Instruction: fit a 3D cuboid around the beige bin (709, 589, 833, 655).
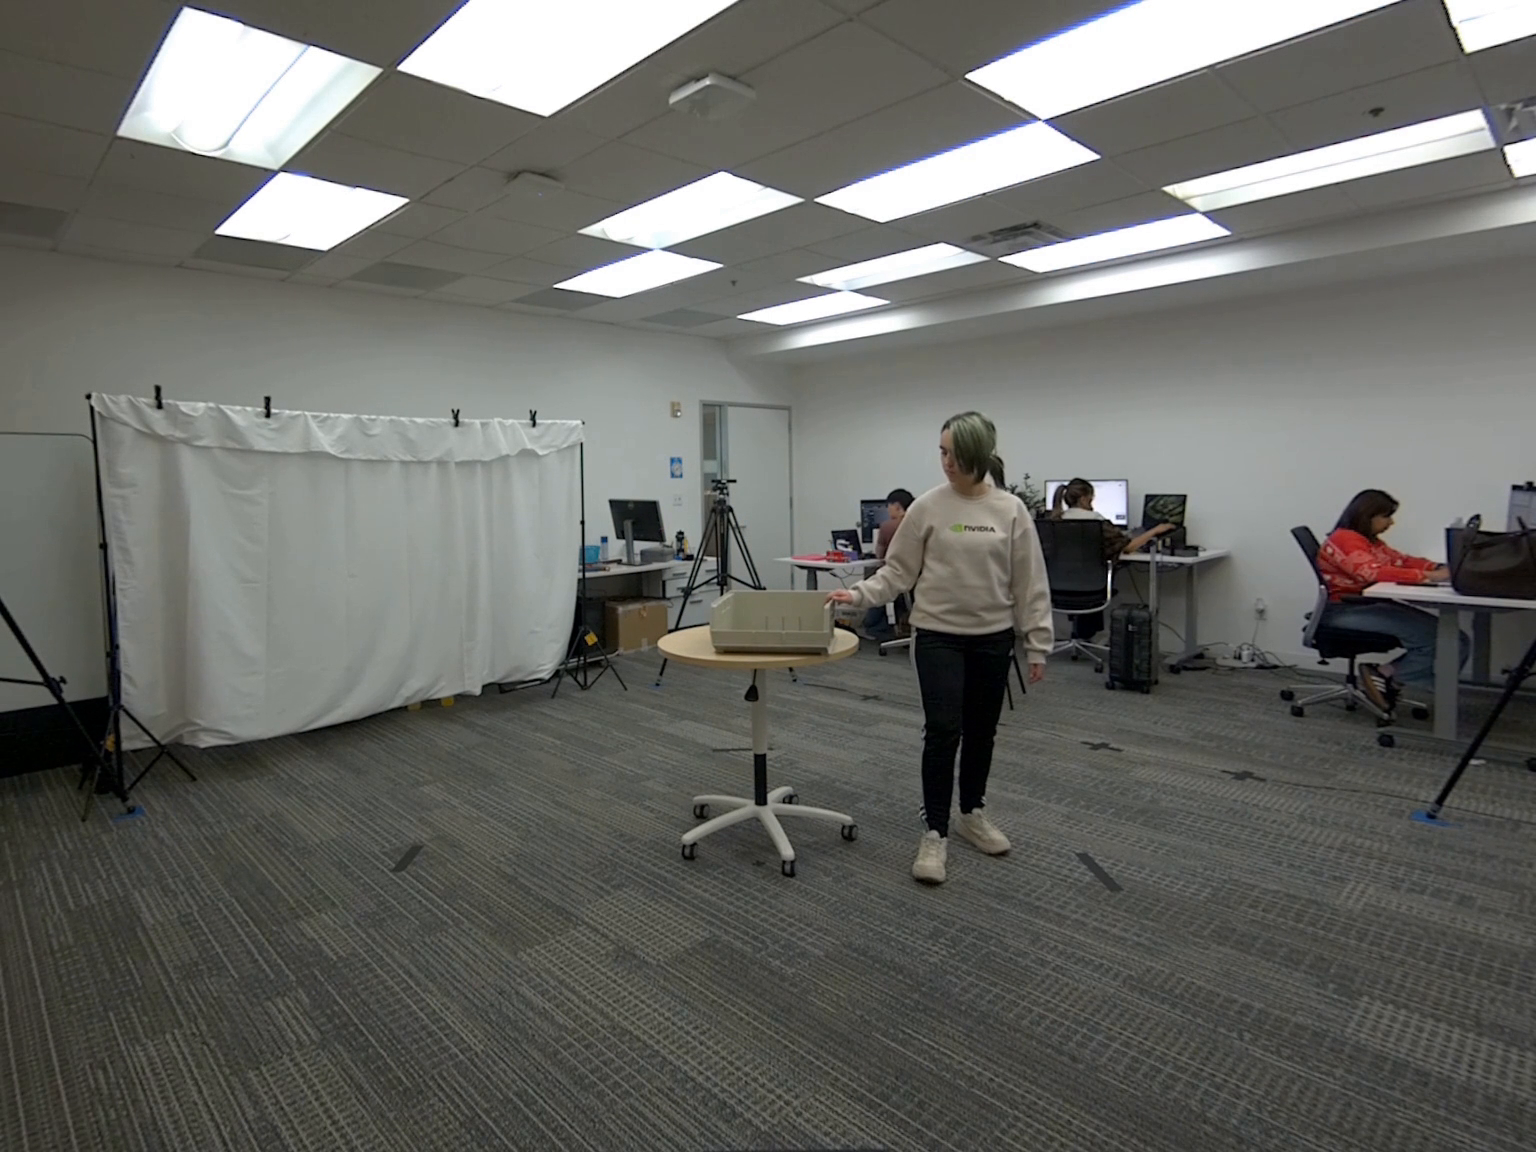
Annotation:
[{"bbox_3d":[0.030,0.167,3.131,0.427,0.188,0.374,-1,3,10],"label":"beige bin"}]
